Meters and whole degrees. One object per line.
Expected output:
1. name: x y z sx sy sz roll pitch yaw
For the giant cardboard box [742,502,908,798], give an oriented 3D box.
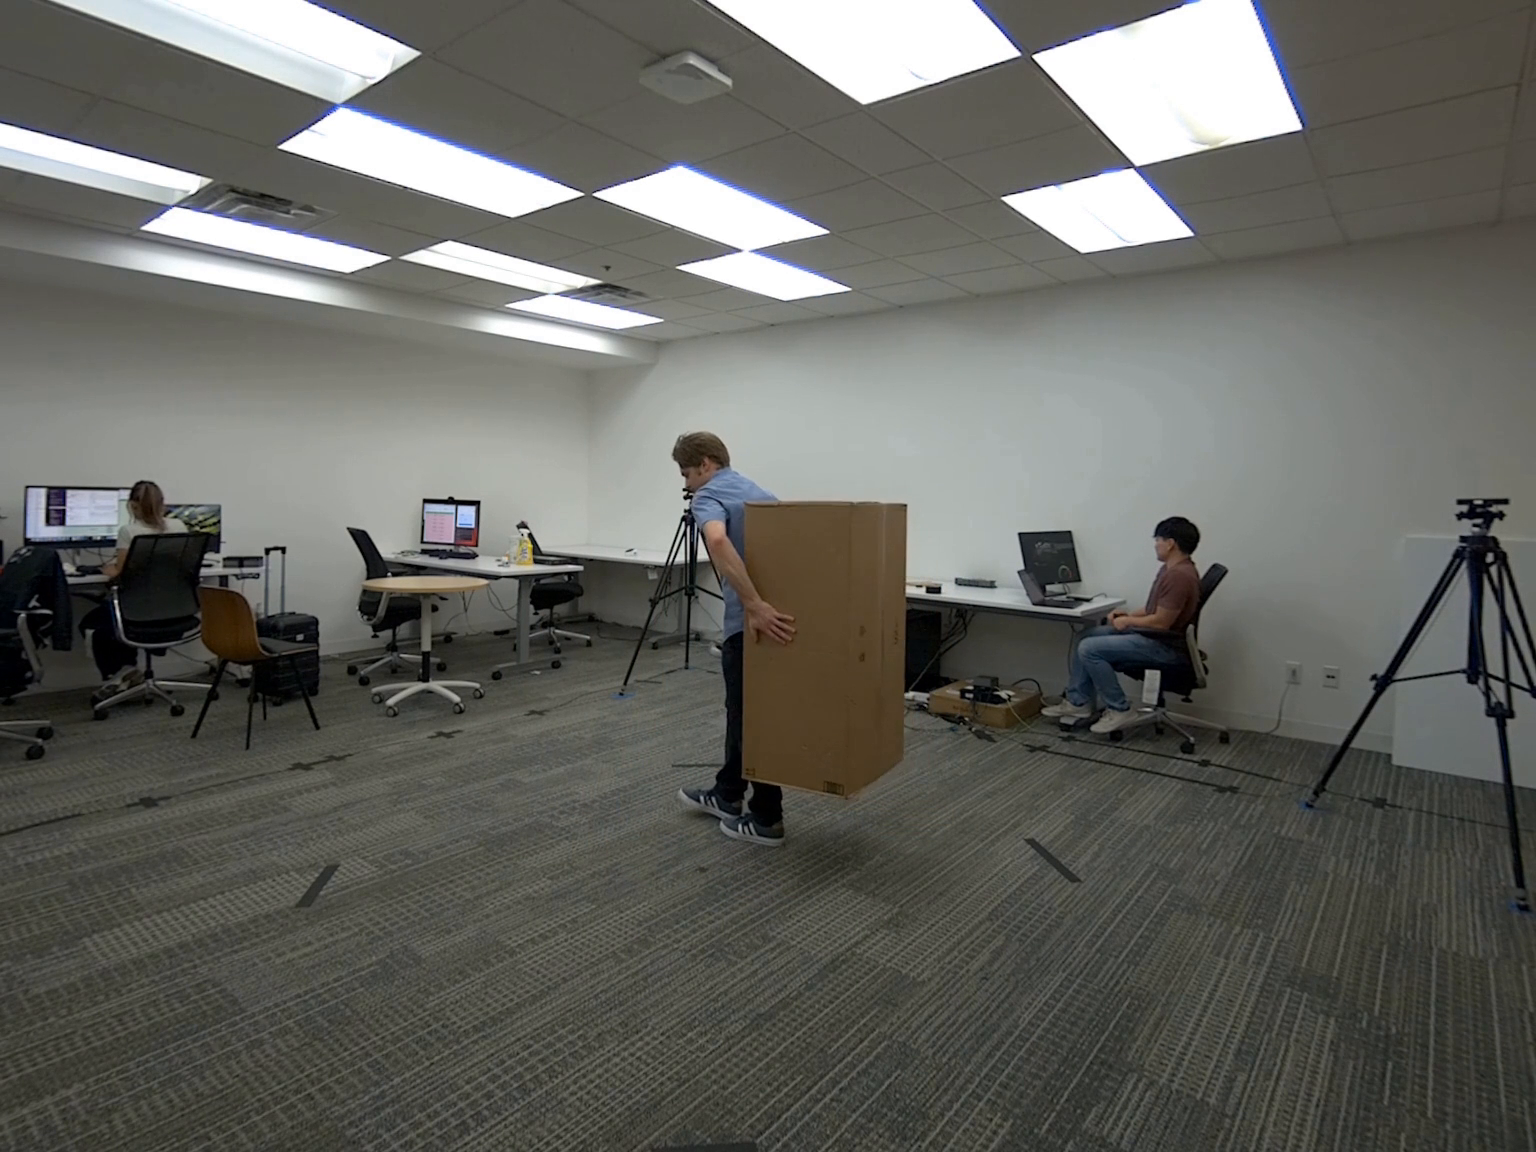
1. giant cardboard box: 0.223 0.233 3.233 0.460 1.025 0.569 3 3 29
